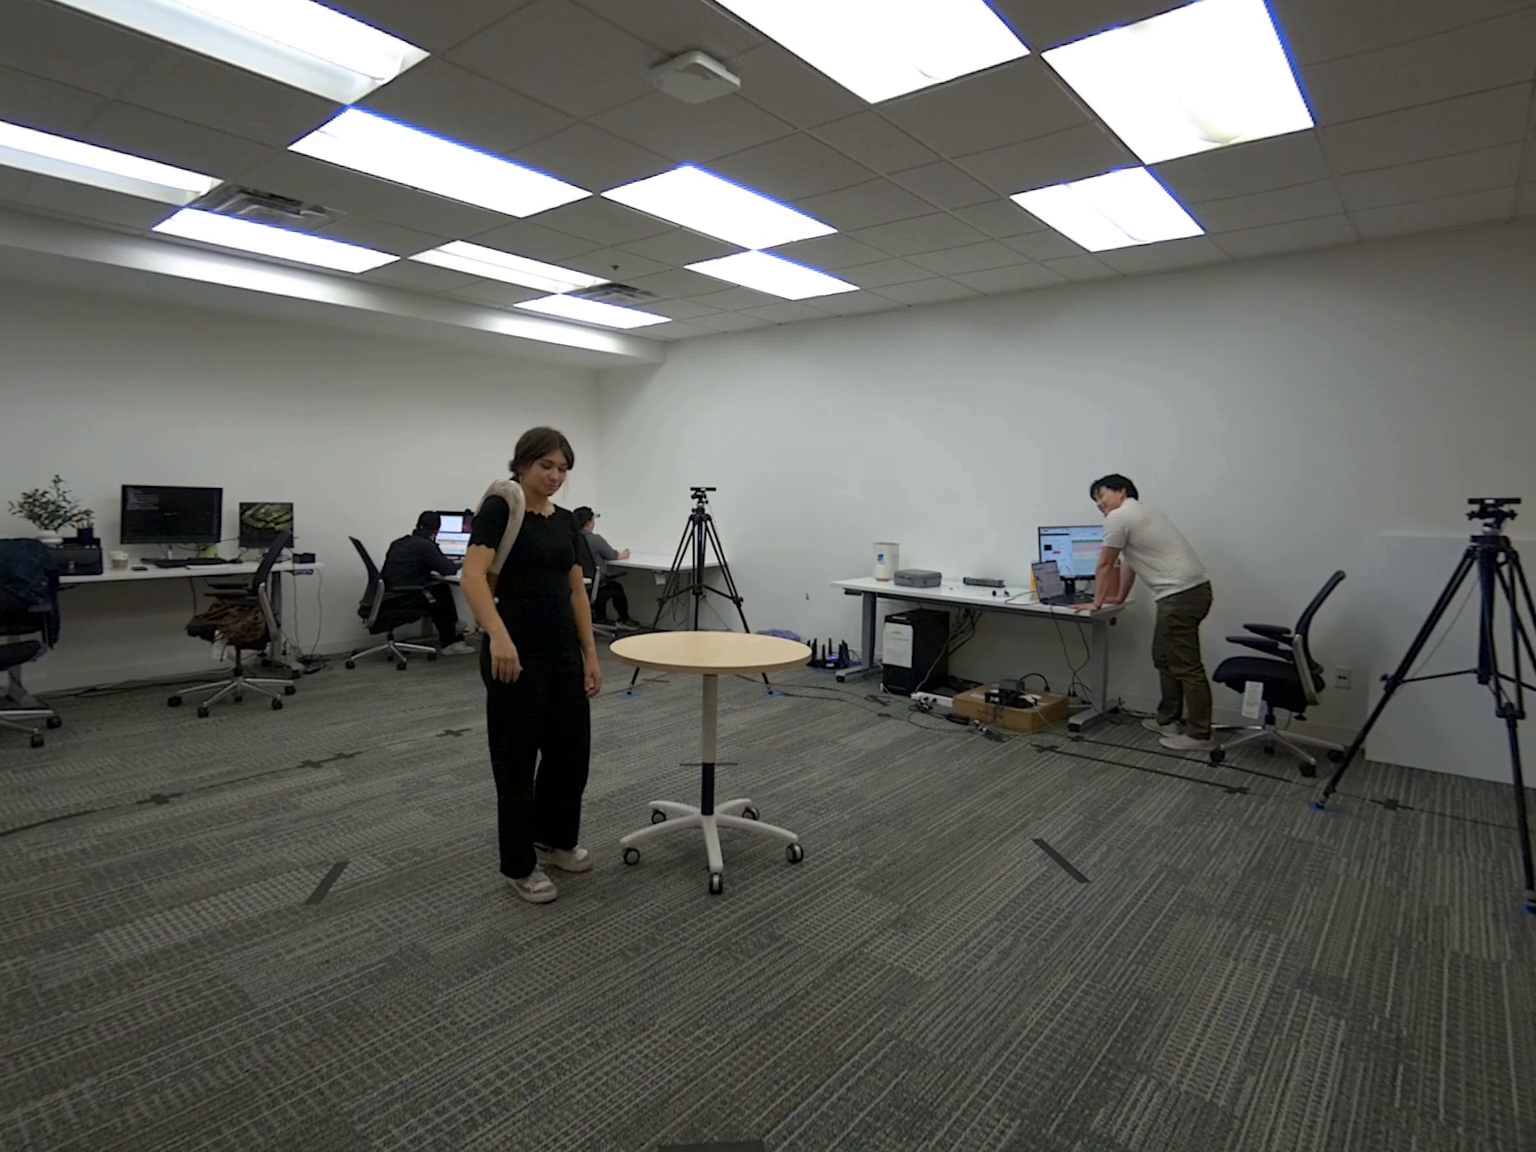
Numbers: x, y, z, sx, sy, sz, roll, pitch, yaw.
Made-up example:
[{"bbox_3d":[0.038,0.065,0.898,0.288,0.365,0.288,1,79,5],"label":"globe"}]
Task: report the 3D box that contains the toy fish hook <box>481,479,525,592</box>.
[{"bbox_3d":[-0.936,-0.077,2.803,0.233,0.508,0.046,11,-5,37],"label":"toy fish hook"}]
